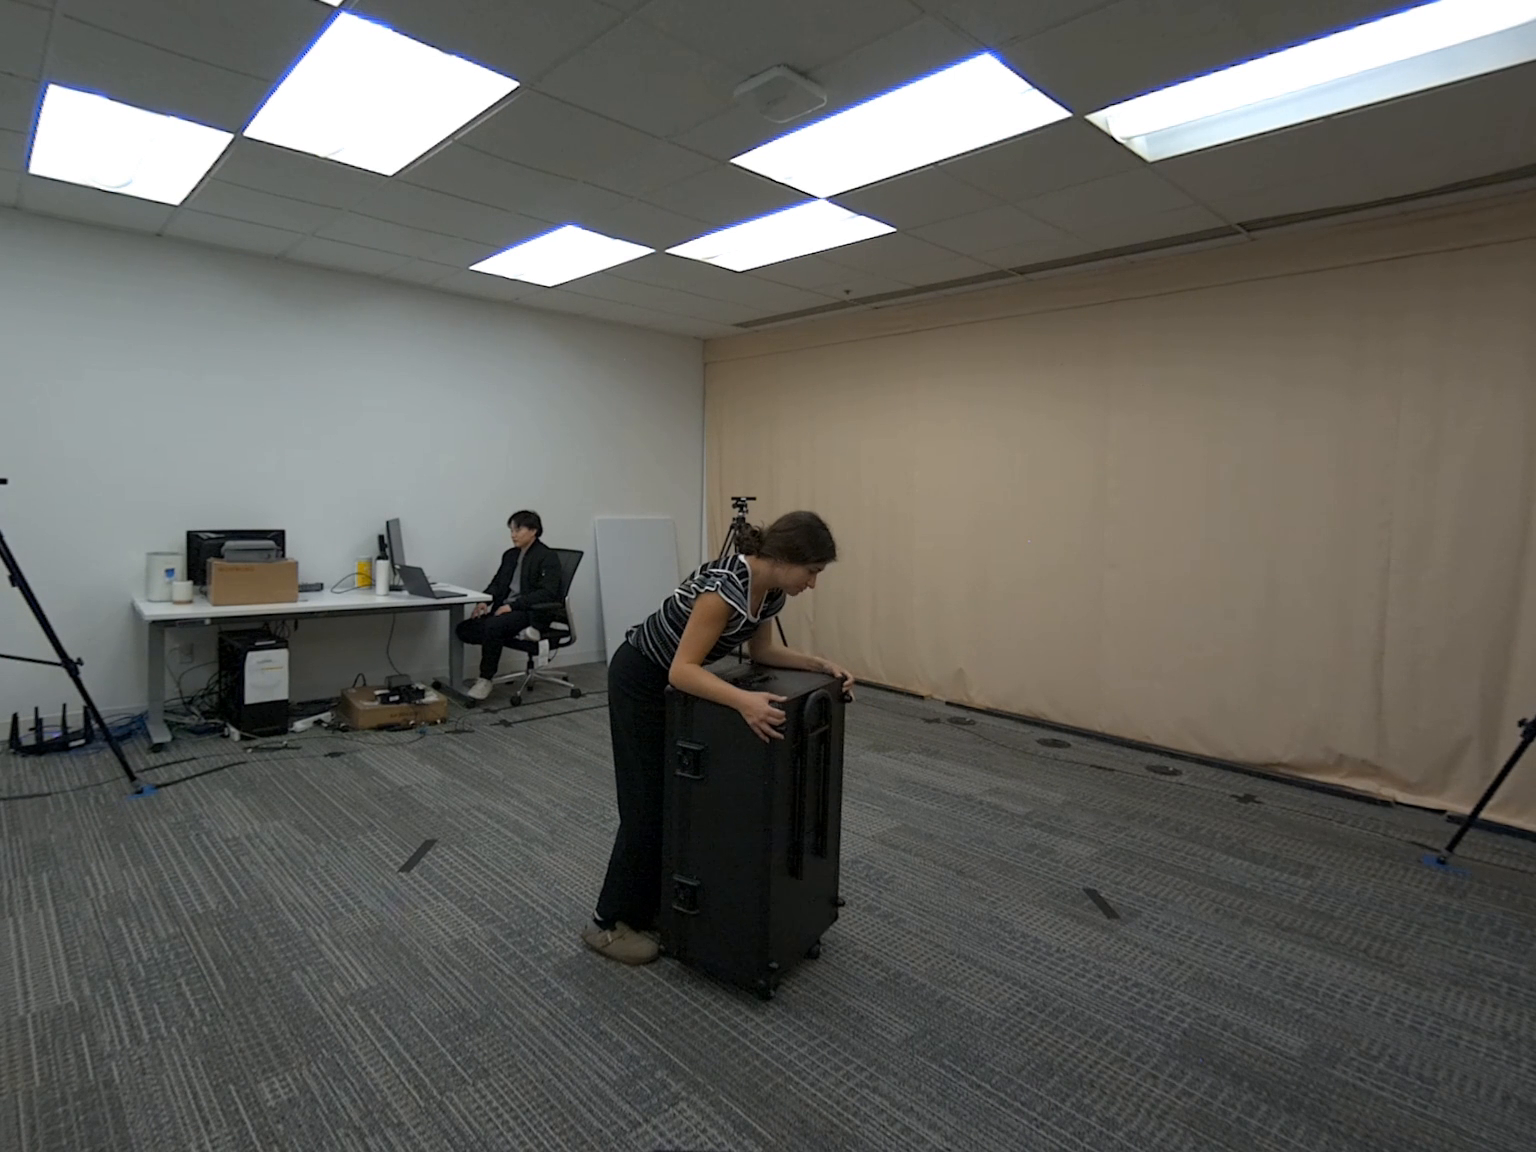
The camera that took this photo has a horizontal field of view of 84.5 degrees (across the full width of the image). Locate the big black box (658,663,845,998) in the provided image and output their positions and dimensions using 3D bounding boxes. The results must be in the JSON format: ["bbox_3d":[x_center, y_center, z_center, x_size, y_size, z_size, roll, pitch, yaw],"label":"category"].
[{"bbox_3d":[-0.024,0.746,2.521,0.405,0.859,0.511,4,5,28],"label":"big black box"}]
